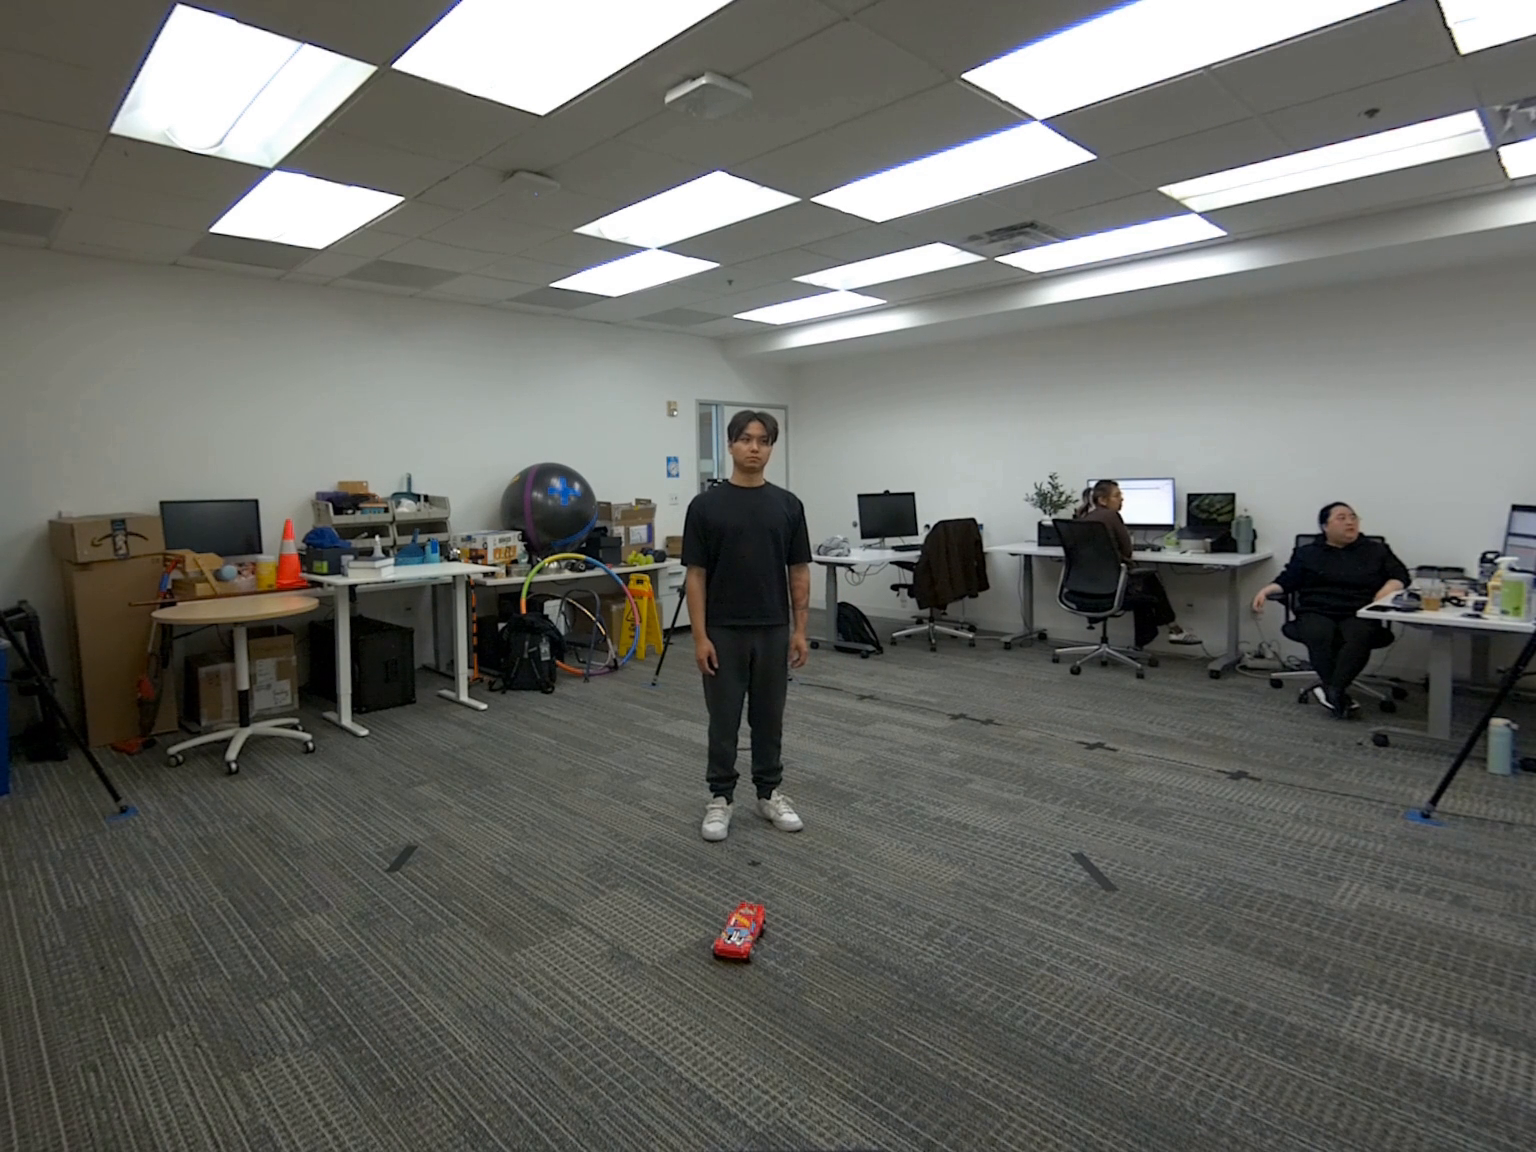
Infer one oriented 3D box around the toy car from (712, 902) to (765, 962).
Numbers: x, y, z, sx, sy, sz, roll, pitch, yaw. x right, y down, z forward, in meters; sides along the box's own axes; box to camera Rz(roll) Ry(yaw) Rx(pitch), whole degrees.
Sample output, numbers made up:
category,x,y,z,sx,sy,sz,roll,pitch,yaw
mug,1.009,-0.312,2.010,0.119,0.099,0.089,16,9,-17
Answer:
category,x,y,z,sx,sy,sz,roll,pitch,yaw
toy car,-0.074,1.082,2.570,0.132,0.082,0.254,1,17,17
